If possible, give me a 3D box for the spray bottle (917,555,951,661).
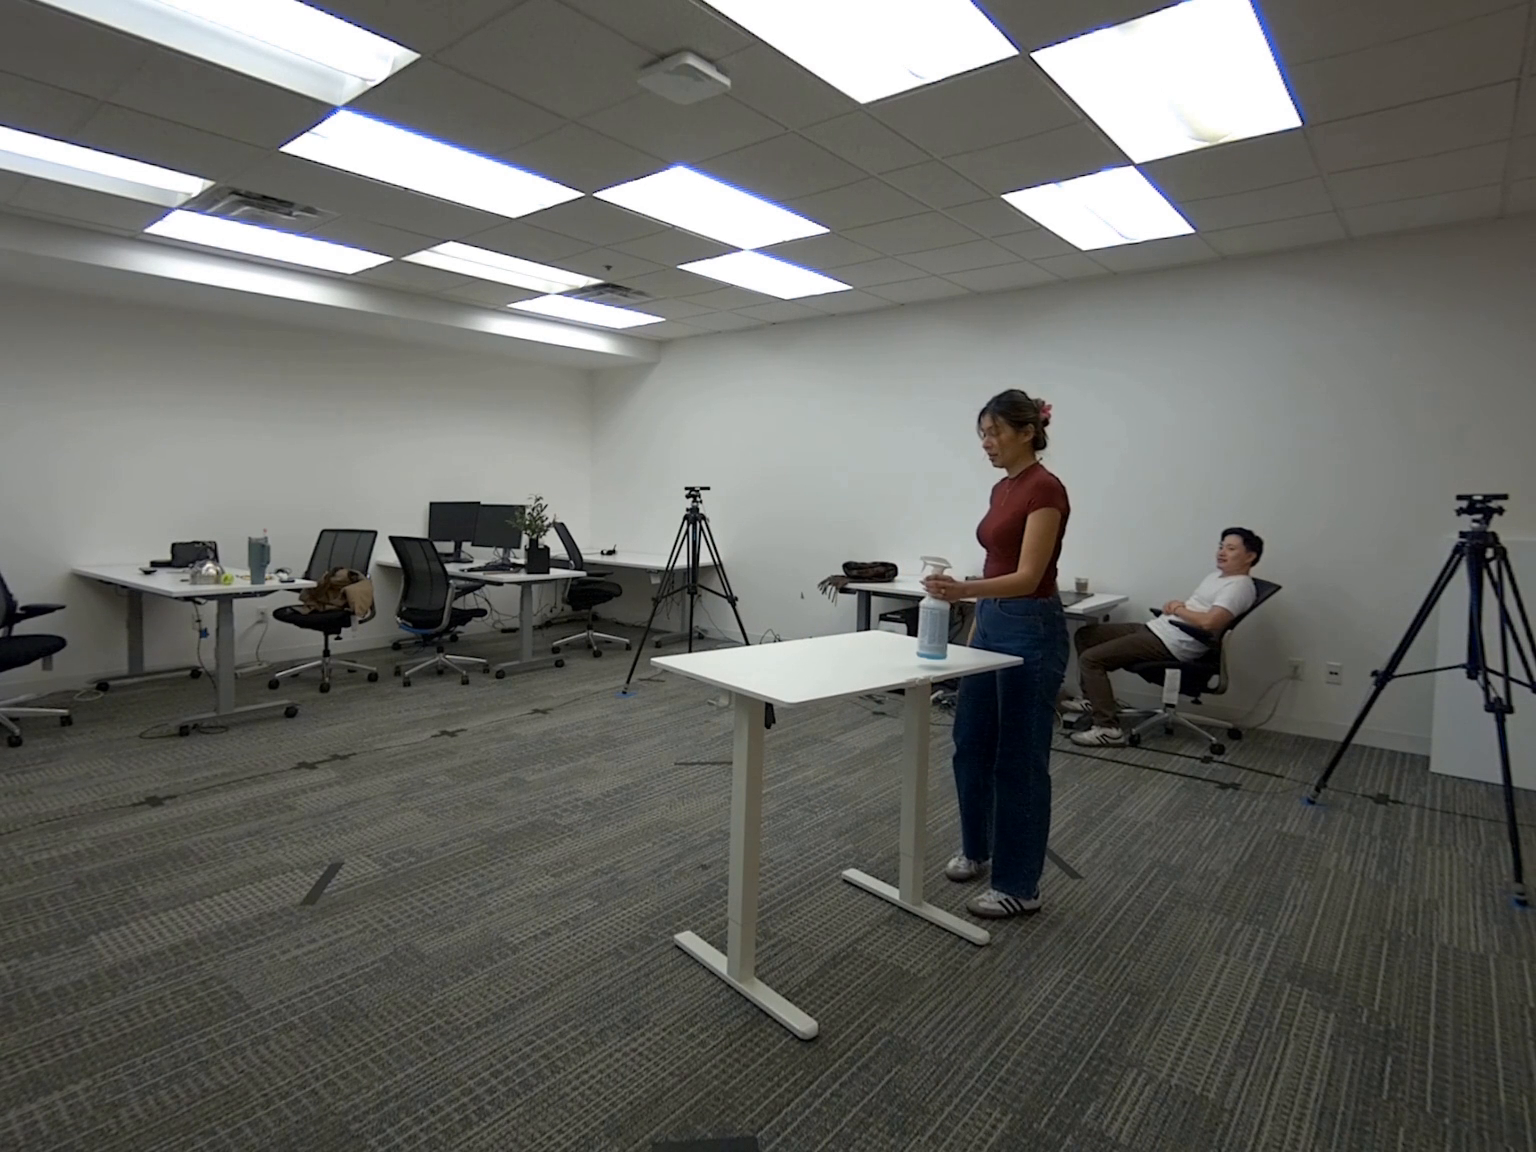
[{"bbox_3d":[0.485,0.089,2.471,0.093,0.298,0.084,3,-2,32],"label":"spray bottle"}]
